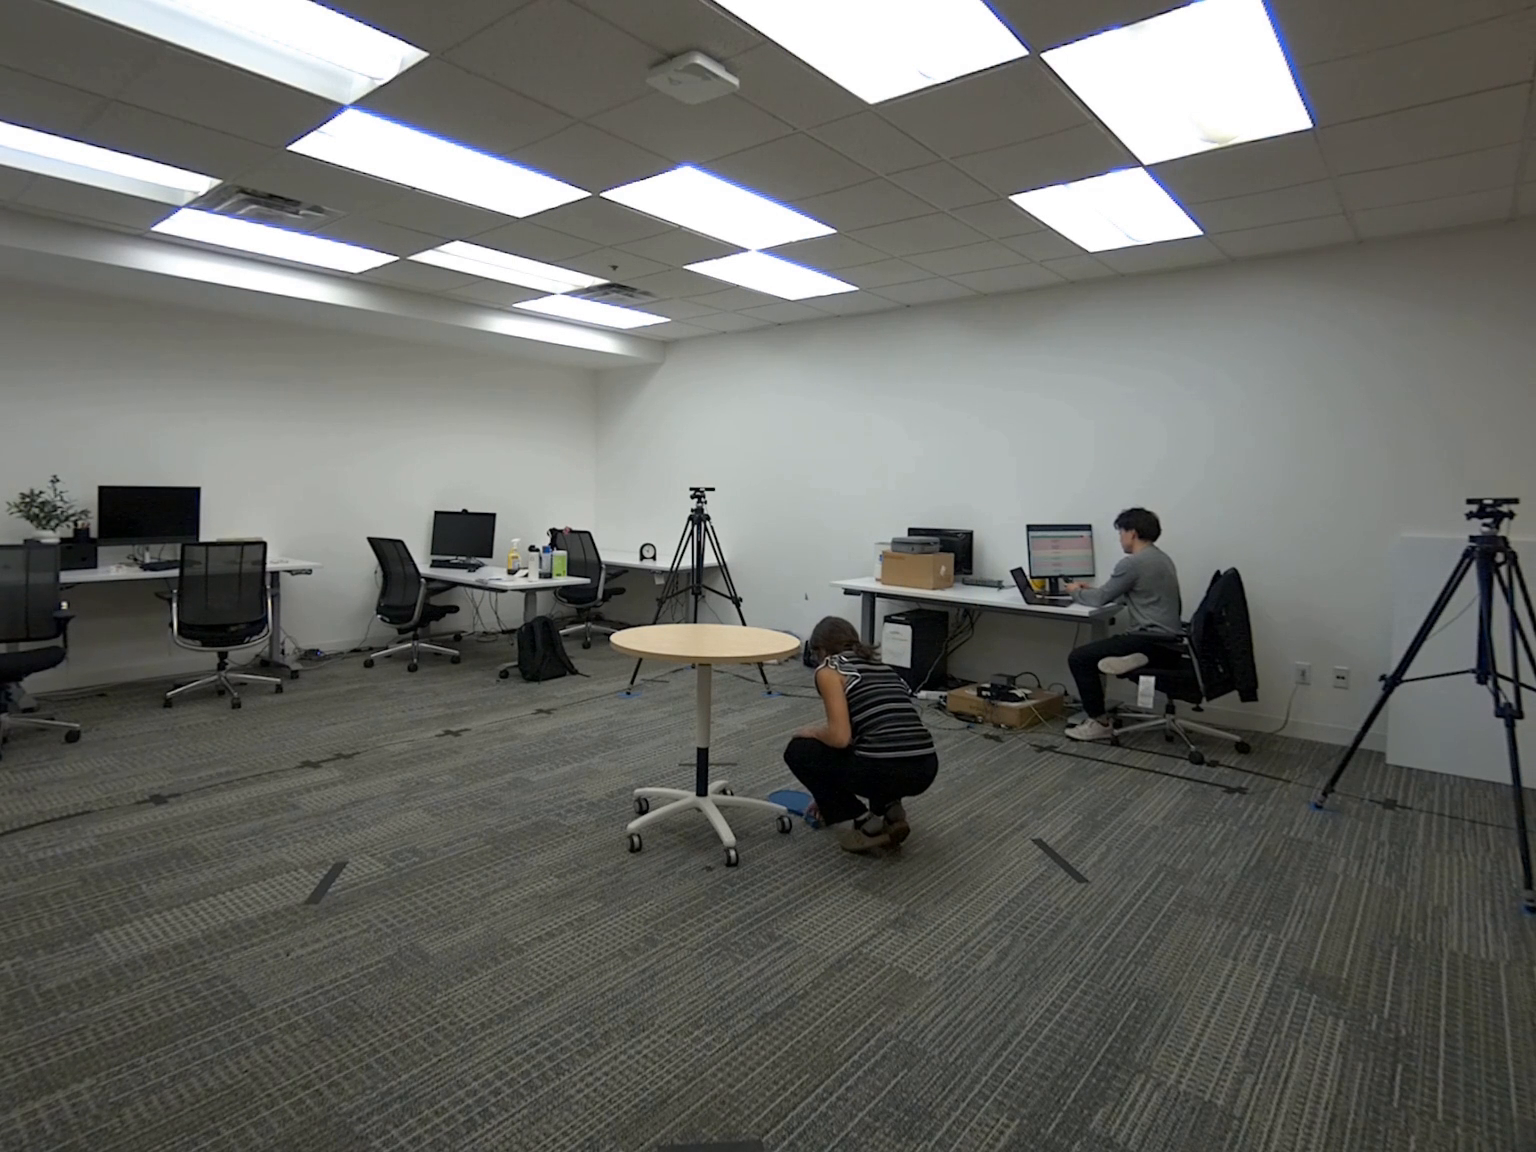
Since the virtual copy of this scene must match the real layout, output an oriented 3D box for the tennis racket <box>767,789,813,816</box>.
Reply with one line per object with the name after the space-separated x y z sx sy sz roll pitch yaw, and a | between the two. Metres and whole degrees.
0.104 0.987 3.695 0.210 0.032 0.440 0 4 -15 | tennis racket
